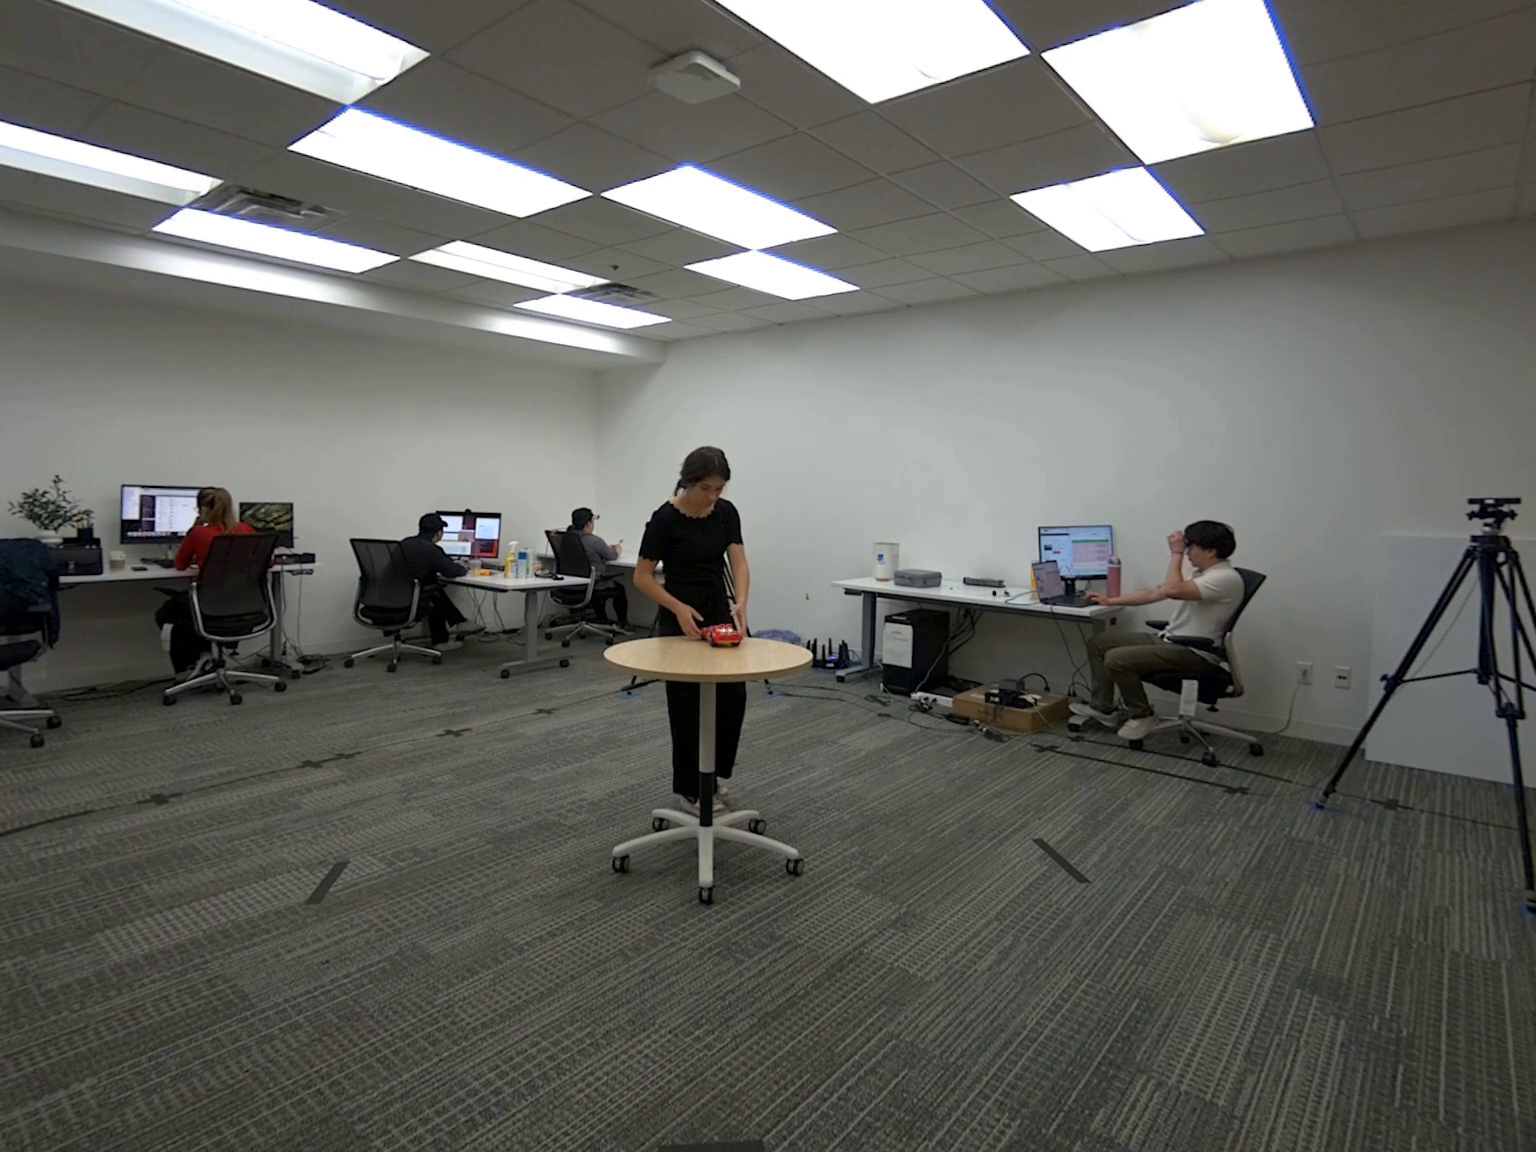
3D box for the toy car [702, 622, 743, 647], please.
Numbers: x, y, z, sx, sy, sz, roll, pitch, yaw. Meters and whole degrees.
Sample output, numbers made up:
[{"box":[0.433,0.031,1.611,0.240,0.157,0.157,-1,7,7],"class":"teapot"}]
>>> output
[{"box":[-0.199,0.230,3.321,0.128,0.084,0.257,0,-6,-19],"class":"toy car"}]
